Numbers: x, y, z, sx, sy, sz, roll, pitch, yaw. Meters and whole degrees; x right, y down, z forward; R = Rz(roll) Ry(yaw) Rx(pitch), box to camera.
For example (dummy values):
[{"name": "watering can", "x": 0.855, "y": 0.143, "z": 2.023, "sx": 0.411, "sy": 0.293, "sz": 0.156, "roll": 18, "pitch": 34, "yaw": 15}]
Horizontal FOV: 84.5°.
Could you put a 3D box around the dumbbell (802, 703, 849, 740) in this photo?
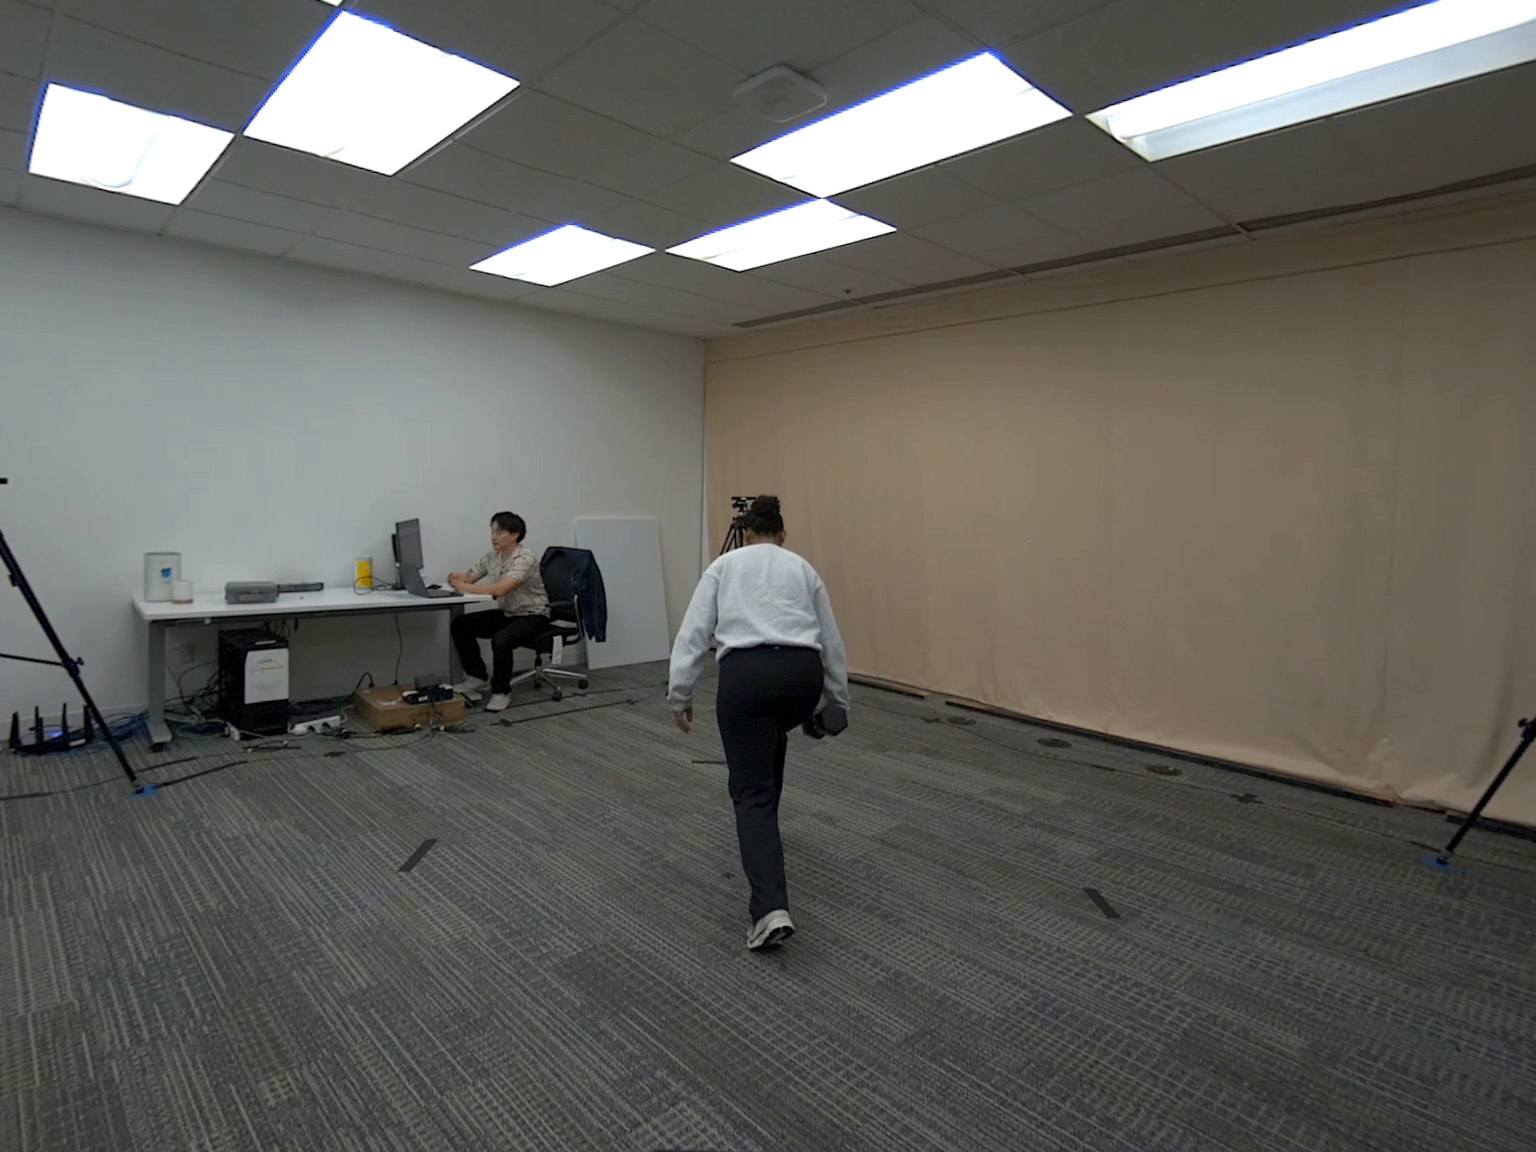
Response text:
[{"name": "dumbbell", "x": 0.210, "y": 0.560, "z": 3.272, "sx": 0.108, "sy": 0.124, "sz": 0.293, "roll": -6, "pitch": -12, "yaw": -13}]
